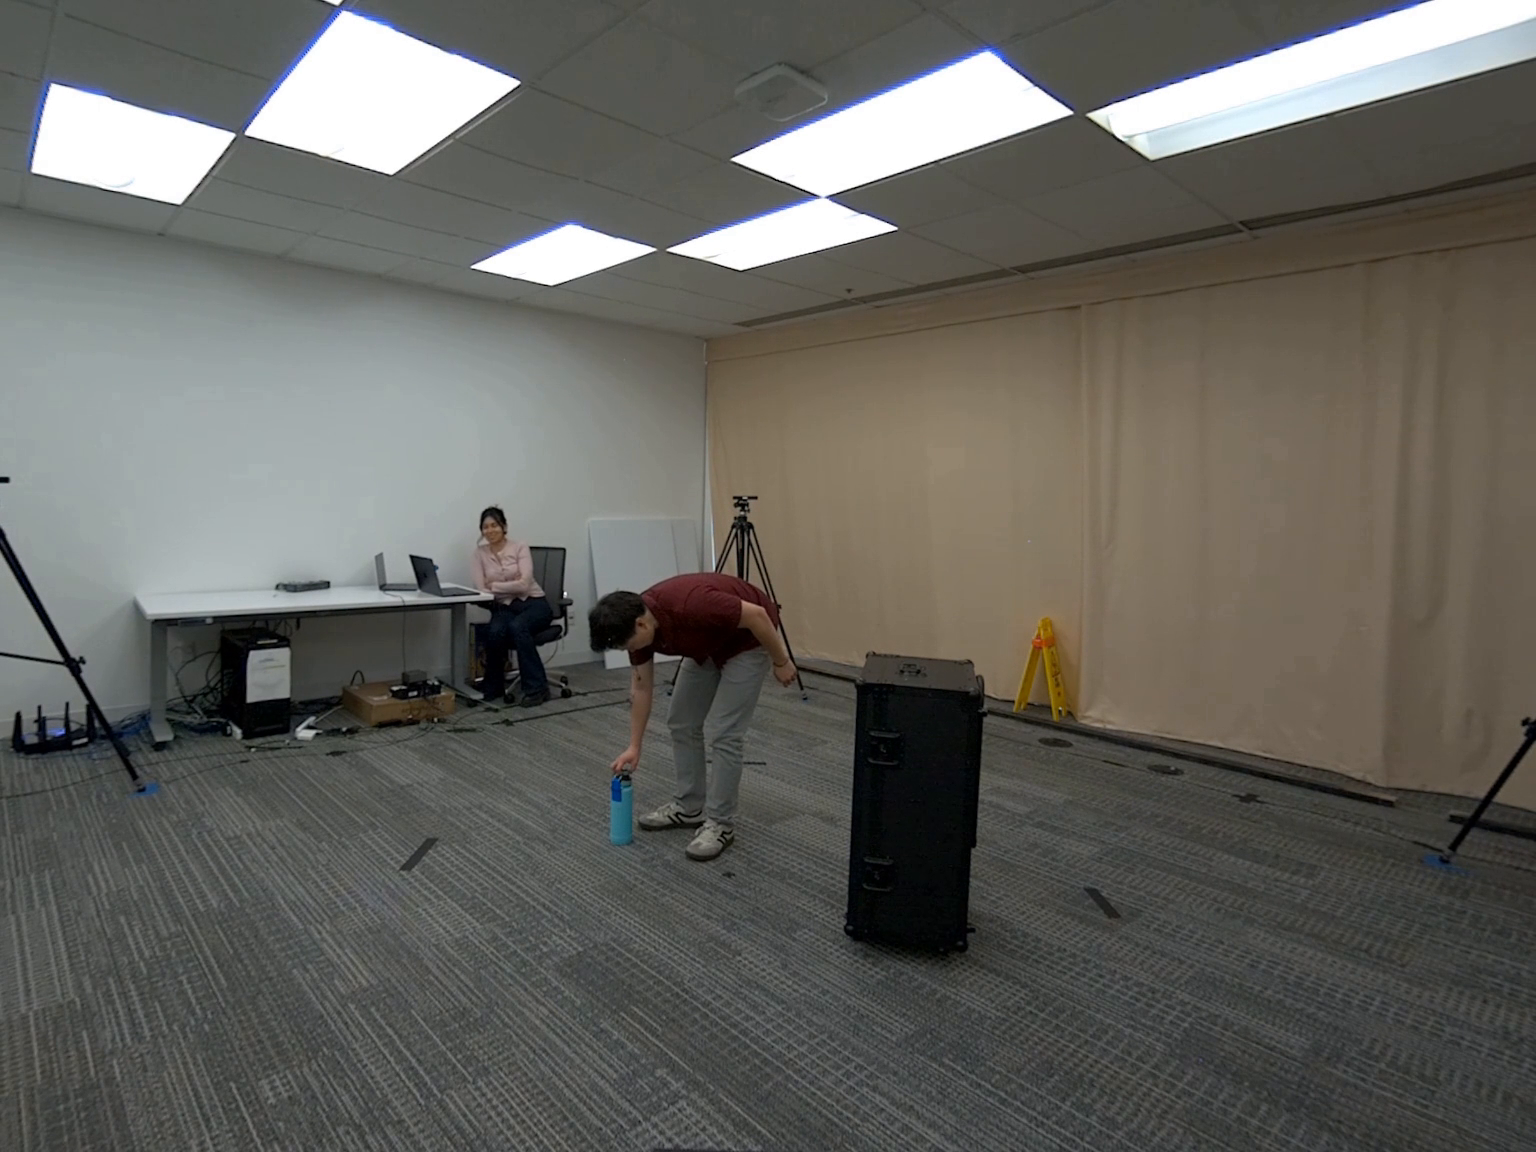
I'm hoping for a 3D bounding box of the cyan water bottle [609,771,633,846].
[{"bbox_3d":[-0.587,0.924,3.374,0.092,0.283,0.092,5,3,-2],"label":"cyan water bottle"}]
